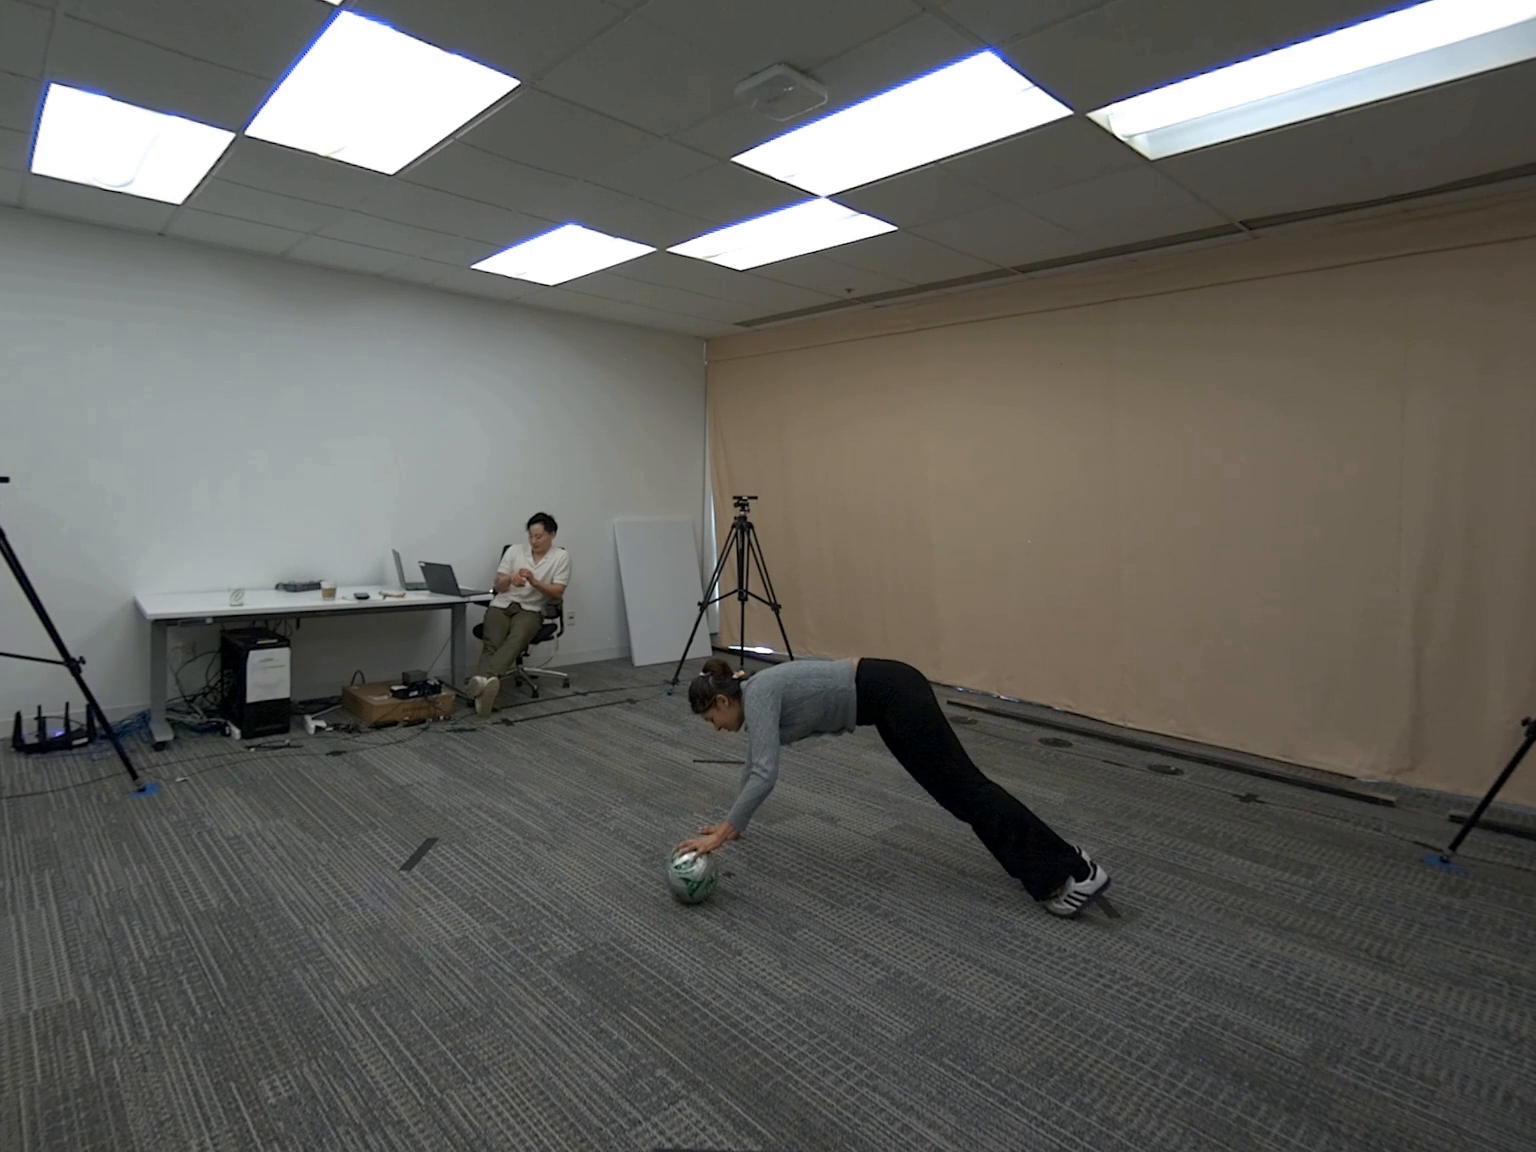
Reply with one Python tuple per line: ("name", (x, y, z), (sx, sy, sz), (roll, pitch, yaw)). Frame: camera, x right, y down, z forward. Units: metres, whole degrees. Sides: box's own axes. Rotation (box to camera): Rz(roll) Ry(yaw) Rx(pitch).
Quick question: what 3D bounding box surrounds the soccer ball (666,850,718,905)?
("soccer ball", (-0.273, 1.022, 2.894), (0.187, 0.187, 0.188), (1, 4, -1))
